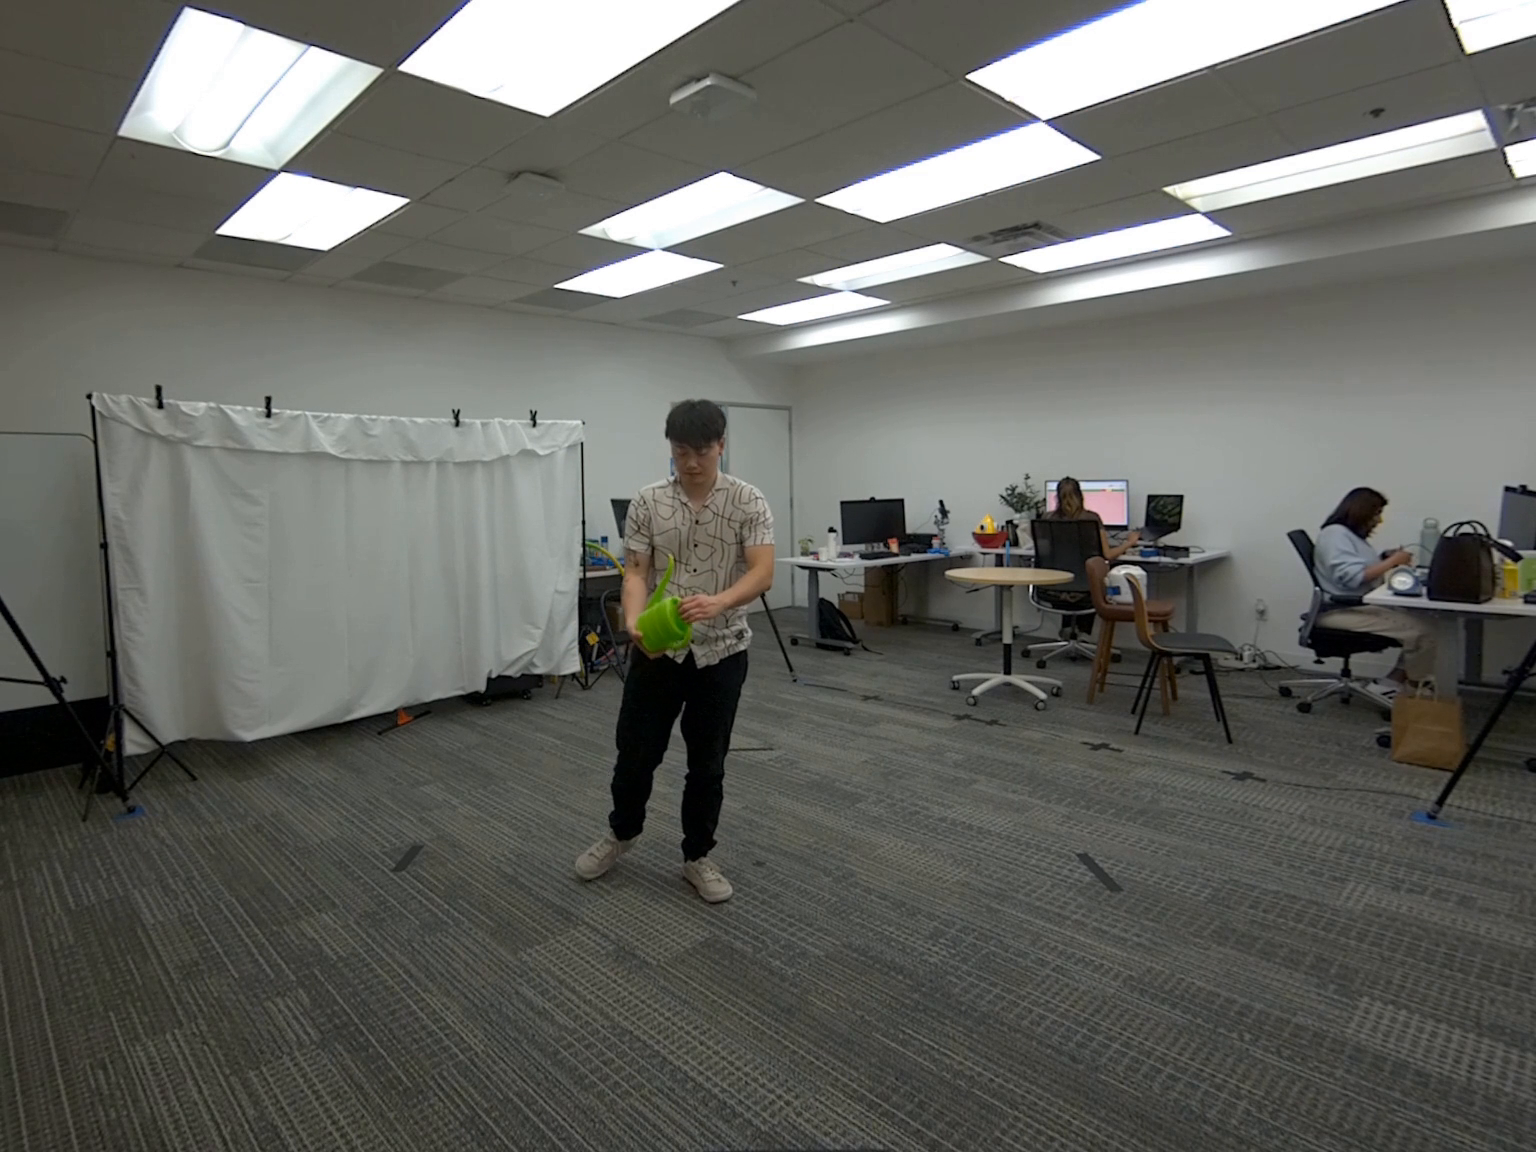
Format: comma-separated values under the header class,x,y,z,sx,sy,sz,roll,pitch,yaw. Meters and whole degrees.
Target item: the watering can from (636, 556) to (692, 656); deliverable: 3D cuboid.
class,x,y,z,sx,sy,sz,roll,pitch,yaw
watering can,-0.318,0.105,2.593,0.178,0.287,0.094,-33,-39,29
